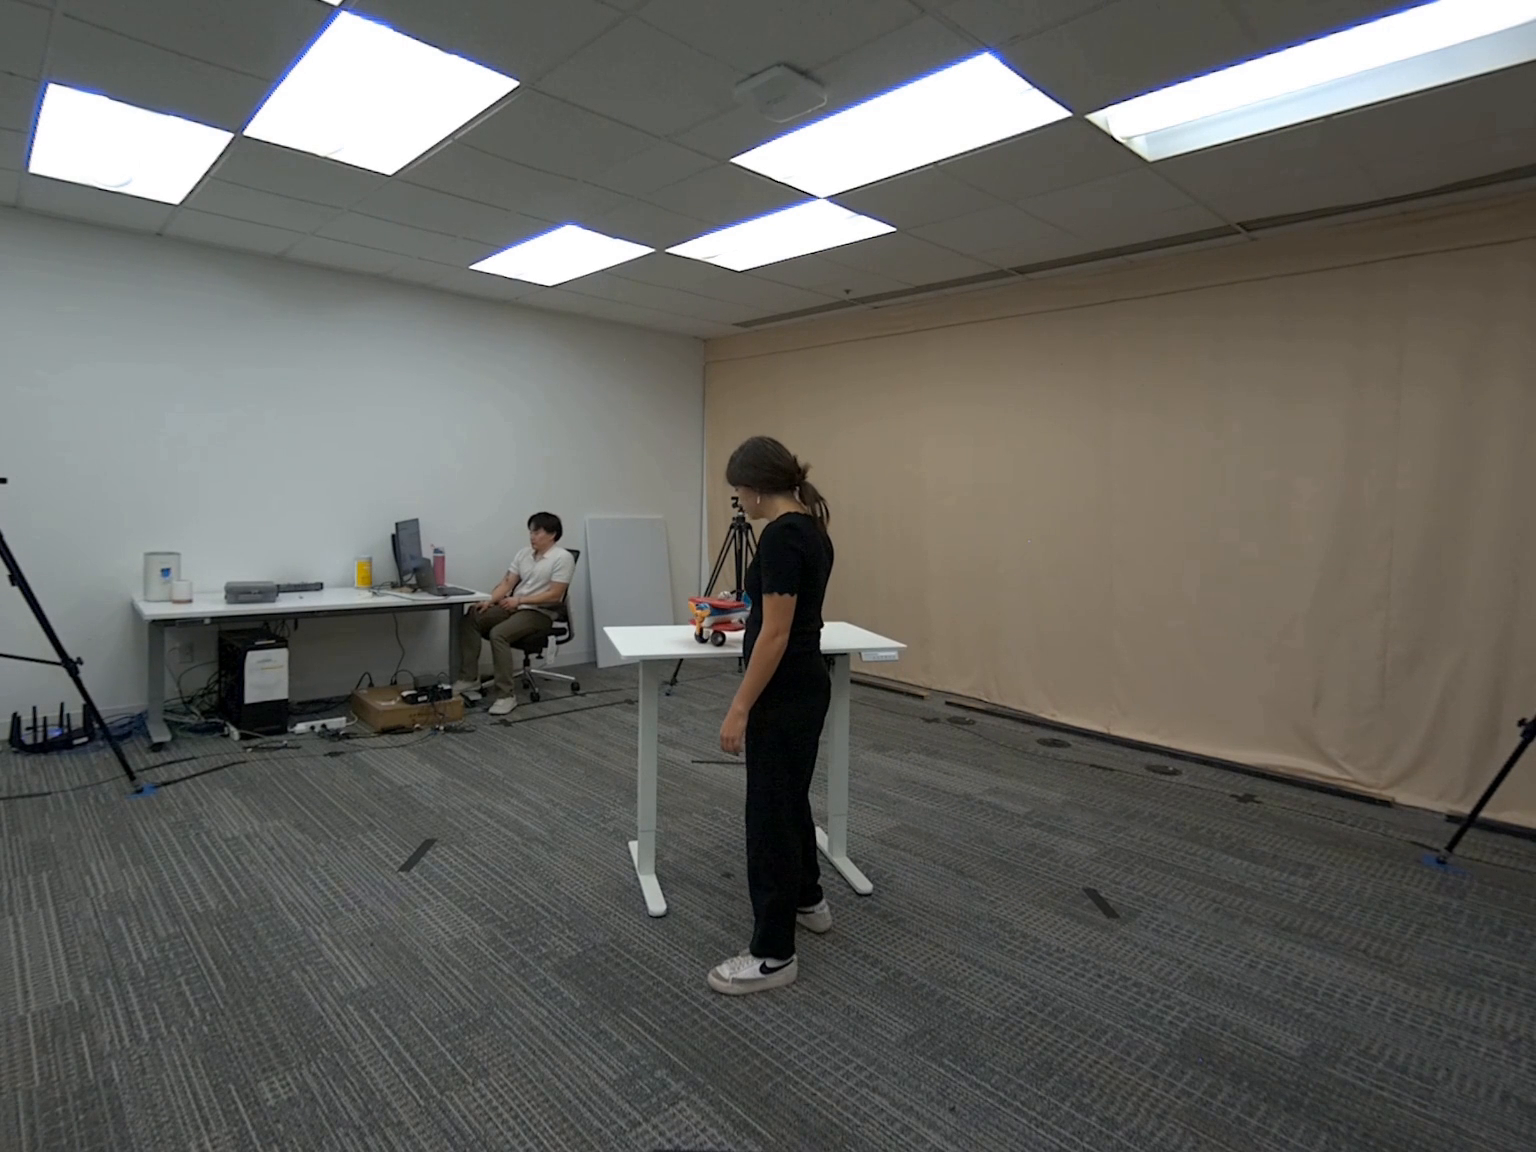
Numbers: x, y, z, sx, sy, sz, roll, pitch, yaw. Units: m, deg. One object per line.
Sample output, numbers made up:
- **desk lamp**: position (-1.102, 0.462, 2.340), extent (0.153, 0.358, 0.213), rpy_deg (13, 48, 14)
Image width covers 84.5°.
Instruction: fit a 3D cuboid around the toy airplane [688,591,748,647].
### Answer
- **toy airplane**: position (-0.171, 0.140, 2.972), extent (0.254, 0.154, 0.259), rpy_deg (-4, 16, 19)
